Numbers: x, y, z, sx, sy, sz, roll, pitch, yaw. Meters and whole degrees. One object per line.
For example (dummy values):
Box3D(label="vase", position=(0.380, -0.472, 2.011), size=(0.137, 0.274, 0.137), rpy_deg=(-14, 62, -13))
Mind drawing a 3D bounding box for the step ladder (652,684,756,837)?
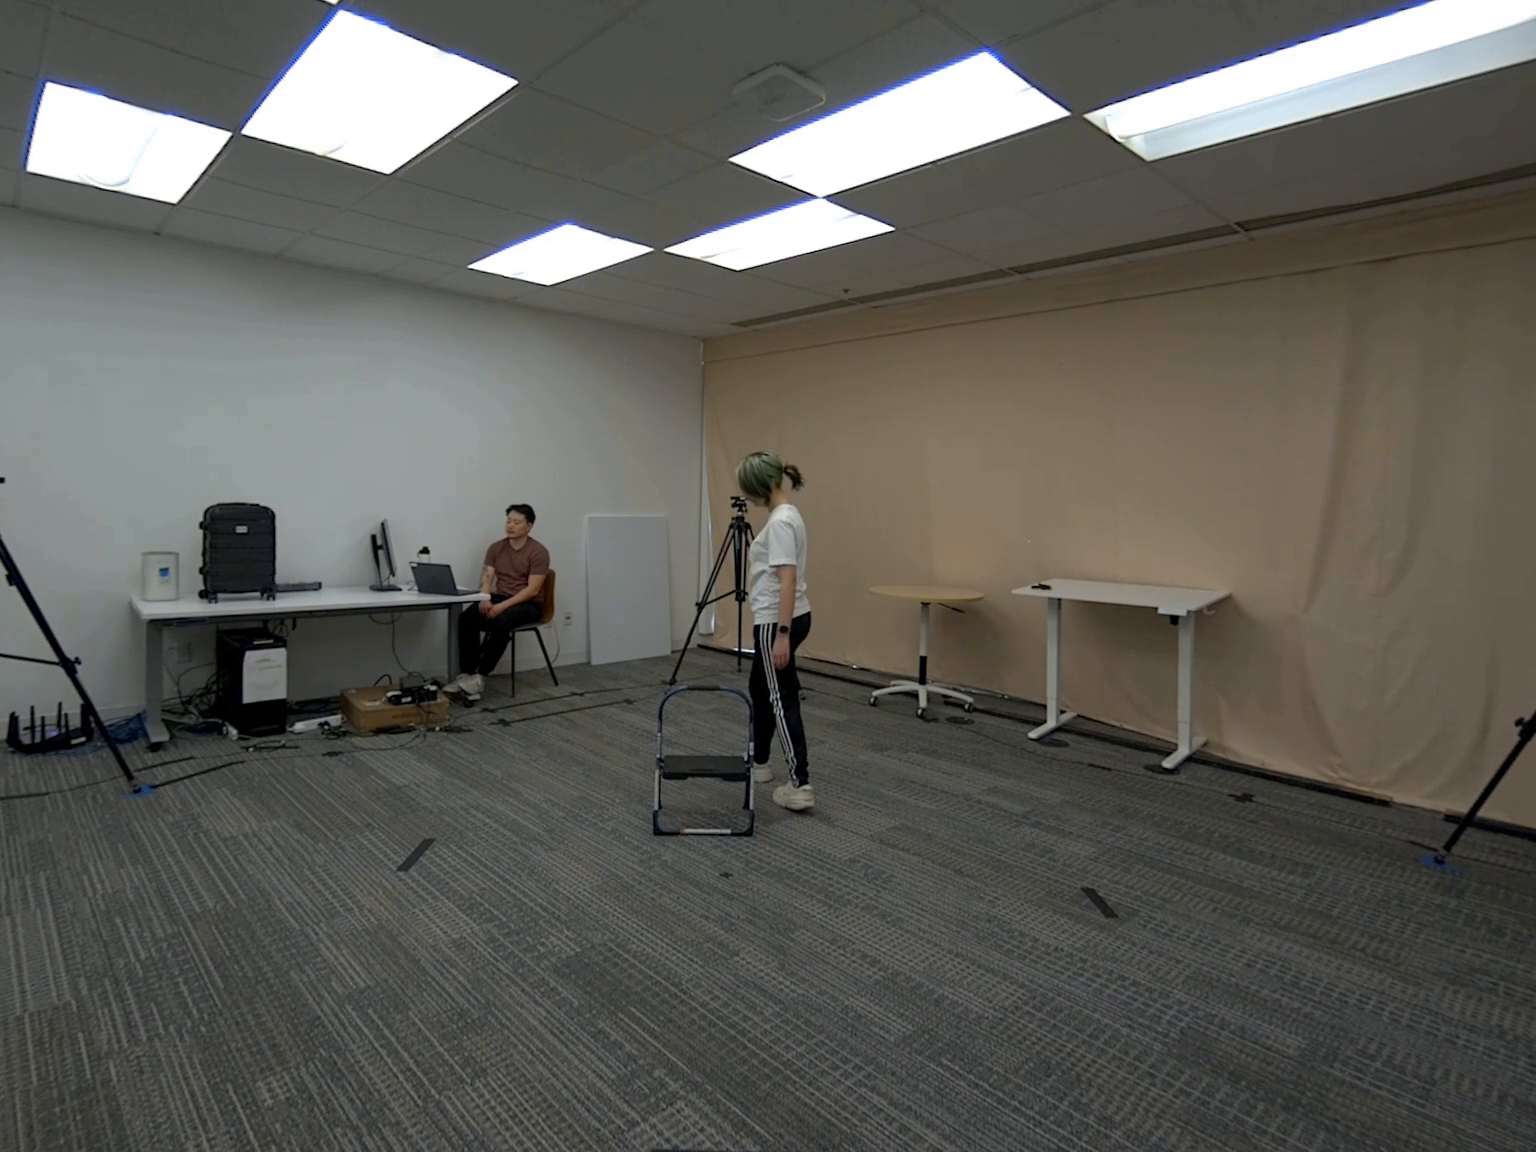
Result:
Box3D(label="step ladder", position=(-0.281, 0.756, 3.613), size=(0.429, 0.605, 0.351), rpy_deg=(1, 3, -4))
